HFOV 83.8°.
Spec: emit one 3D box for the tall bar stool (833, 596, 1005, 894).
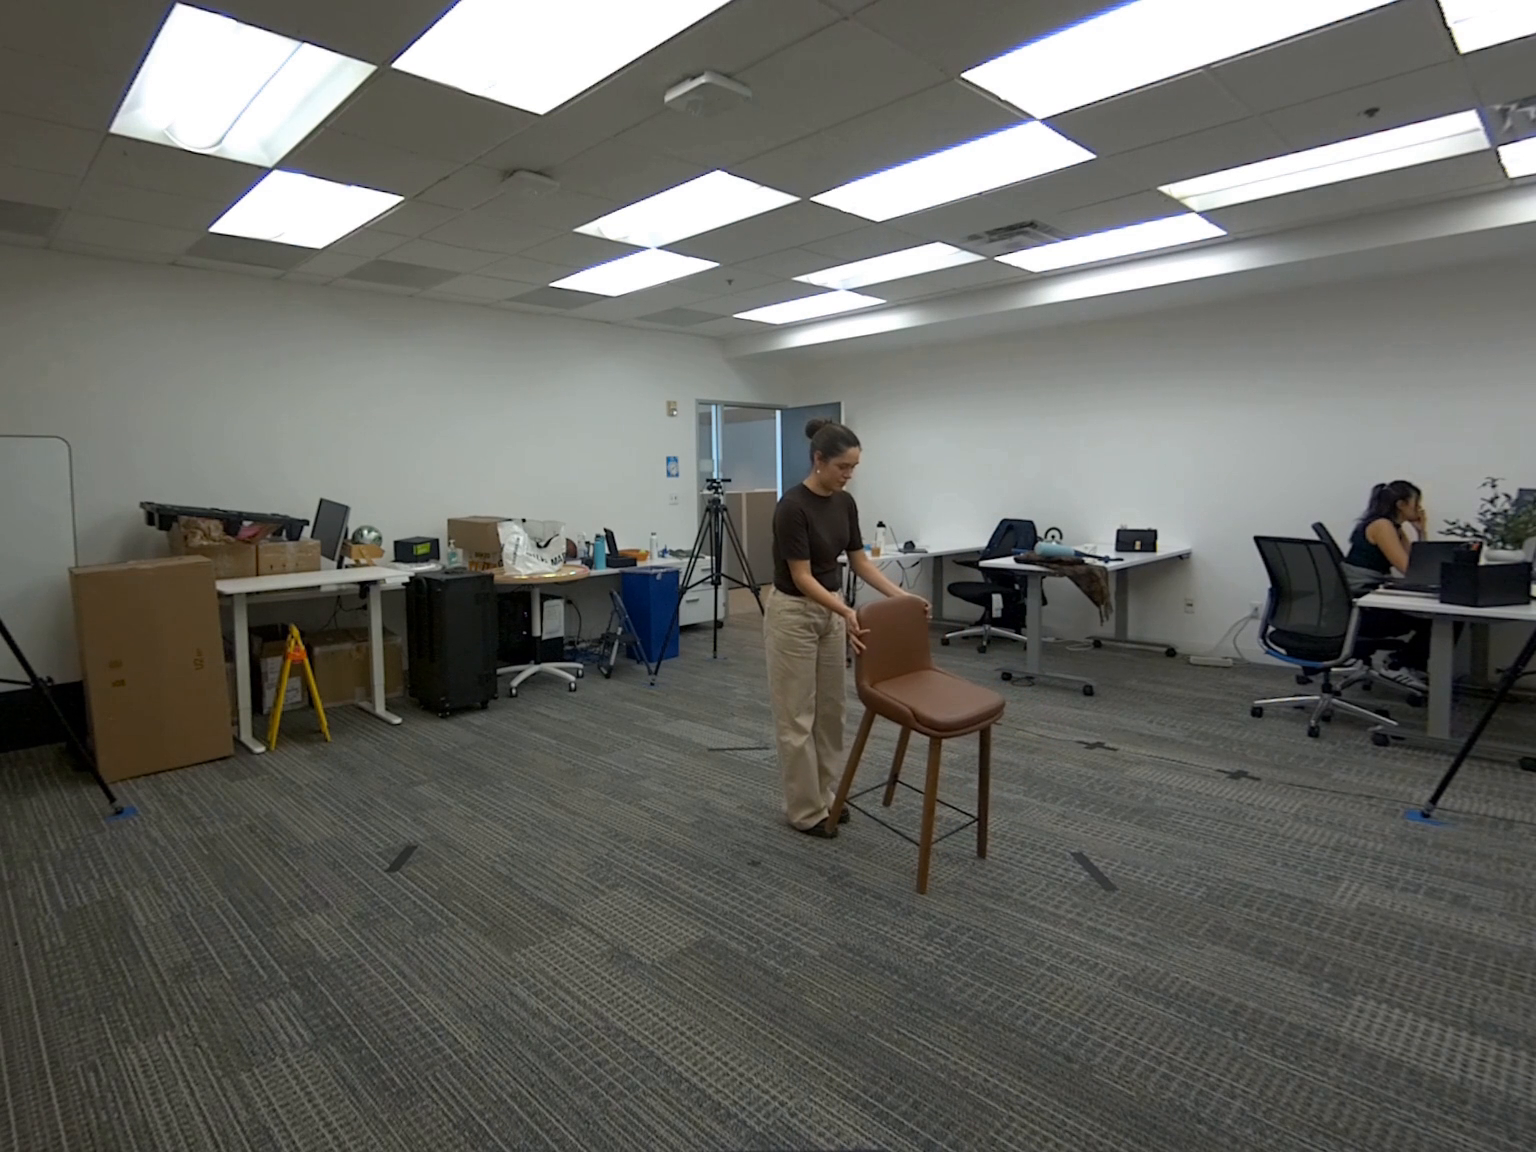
[{"bbox_3d":[0.548,0.564,3.065,0.444,0.883,0.484,-4,13,-43],"label":"tall bar stool"}]
